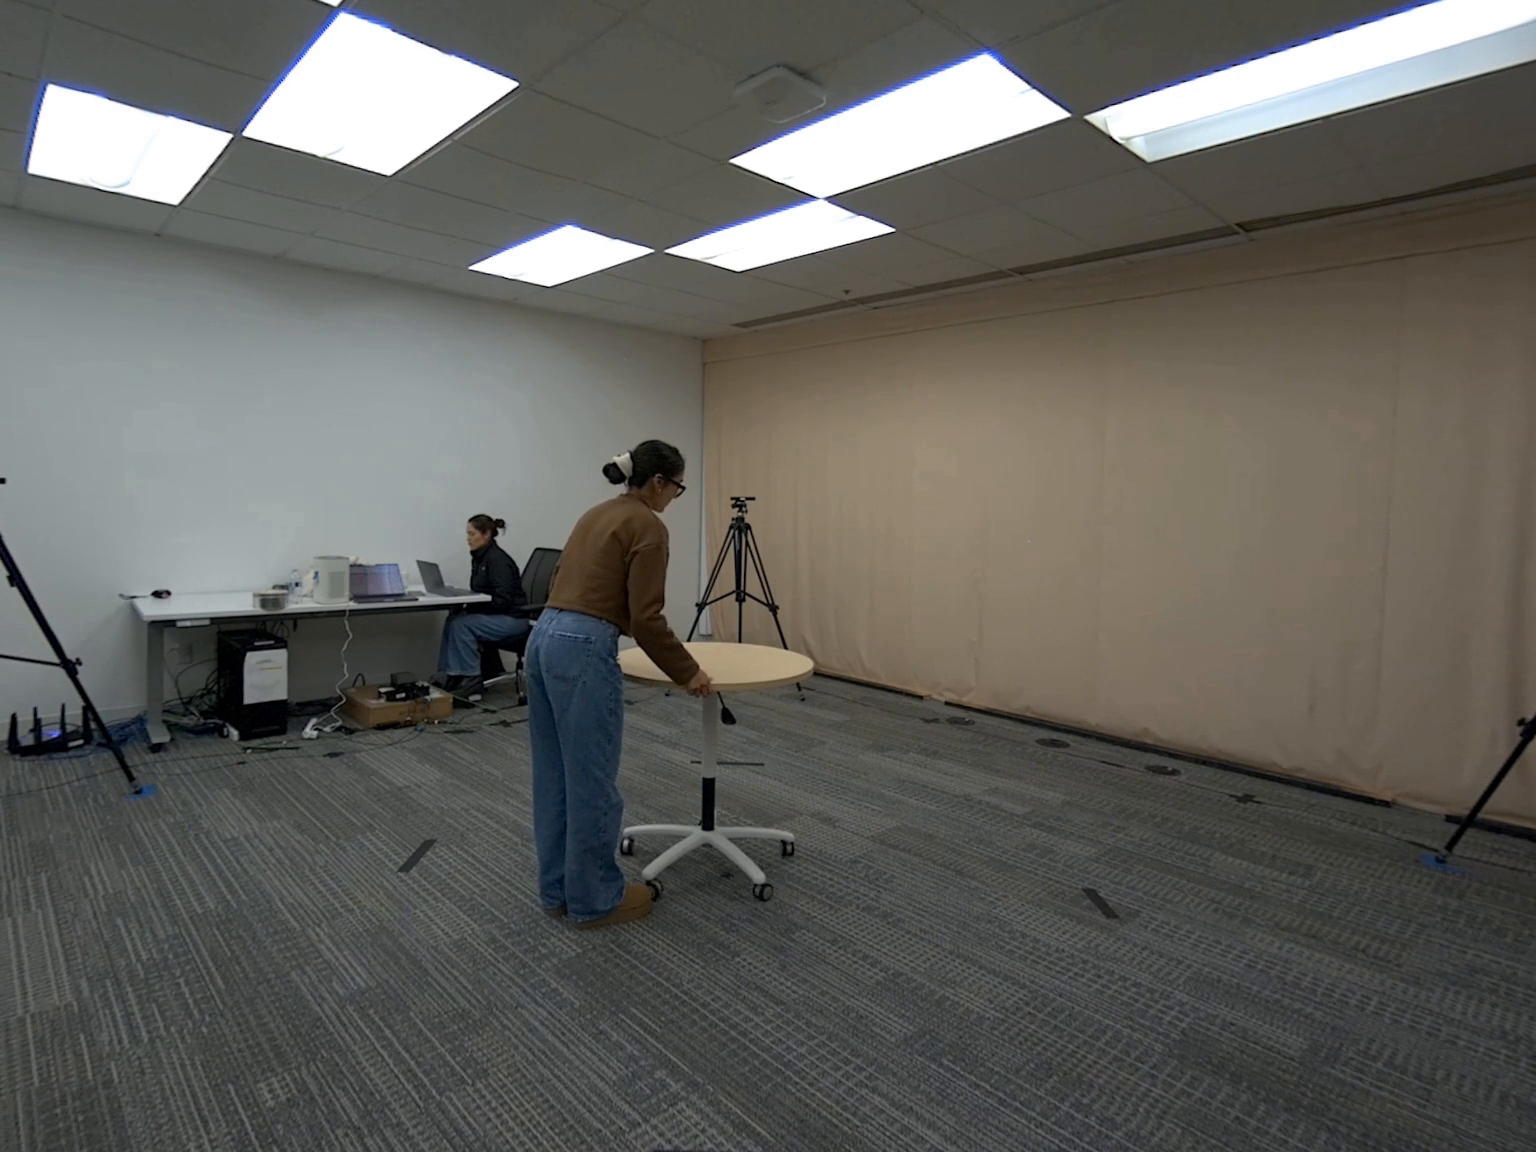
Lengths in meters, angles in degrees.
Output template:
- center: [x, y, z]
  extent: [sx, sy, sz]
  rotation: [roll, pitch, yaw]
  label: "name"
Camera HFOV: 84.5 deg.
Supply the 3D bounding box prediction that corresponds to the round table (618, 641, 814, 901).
- center: [-0.228, 0.709, 3.175]
  extent: [0.763, 0.792, 0.767]
  rotation: [1, 4, -1]
  label: "round table"
